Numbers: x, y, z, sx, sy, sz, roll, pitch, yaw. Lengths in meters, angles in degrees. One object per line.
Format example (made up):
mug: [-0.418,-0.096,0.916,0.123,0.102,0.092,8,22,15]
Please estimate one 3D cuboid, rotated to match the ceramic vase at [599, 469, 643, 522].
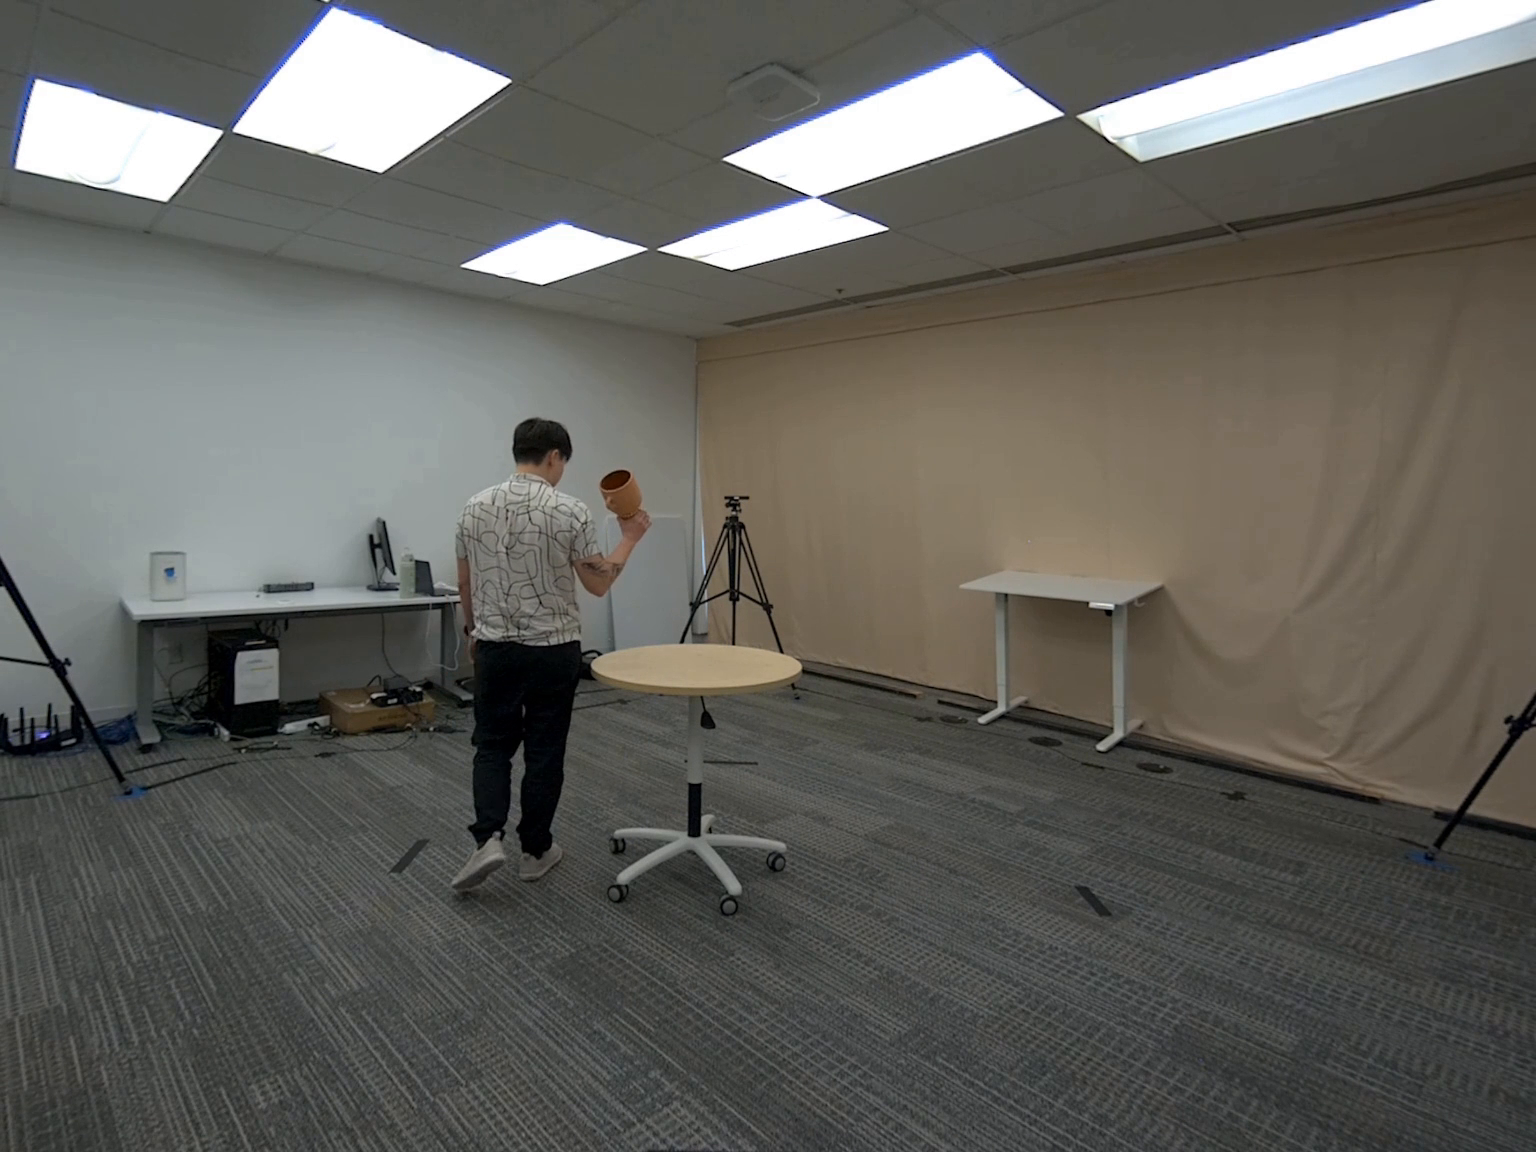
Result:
ceramic vase: [-0.543,-0.272,3.131,0.158,0.213,0.139,-30,41,-11]
